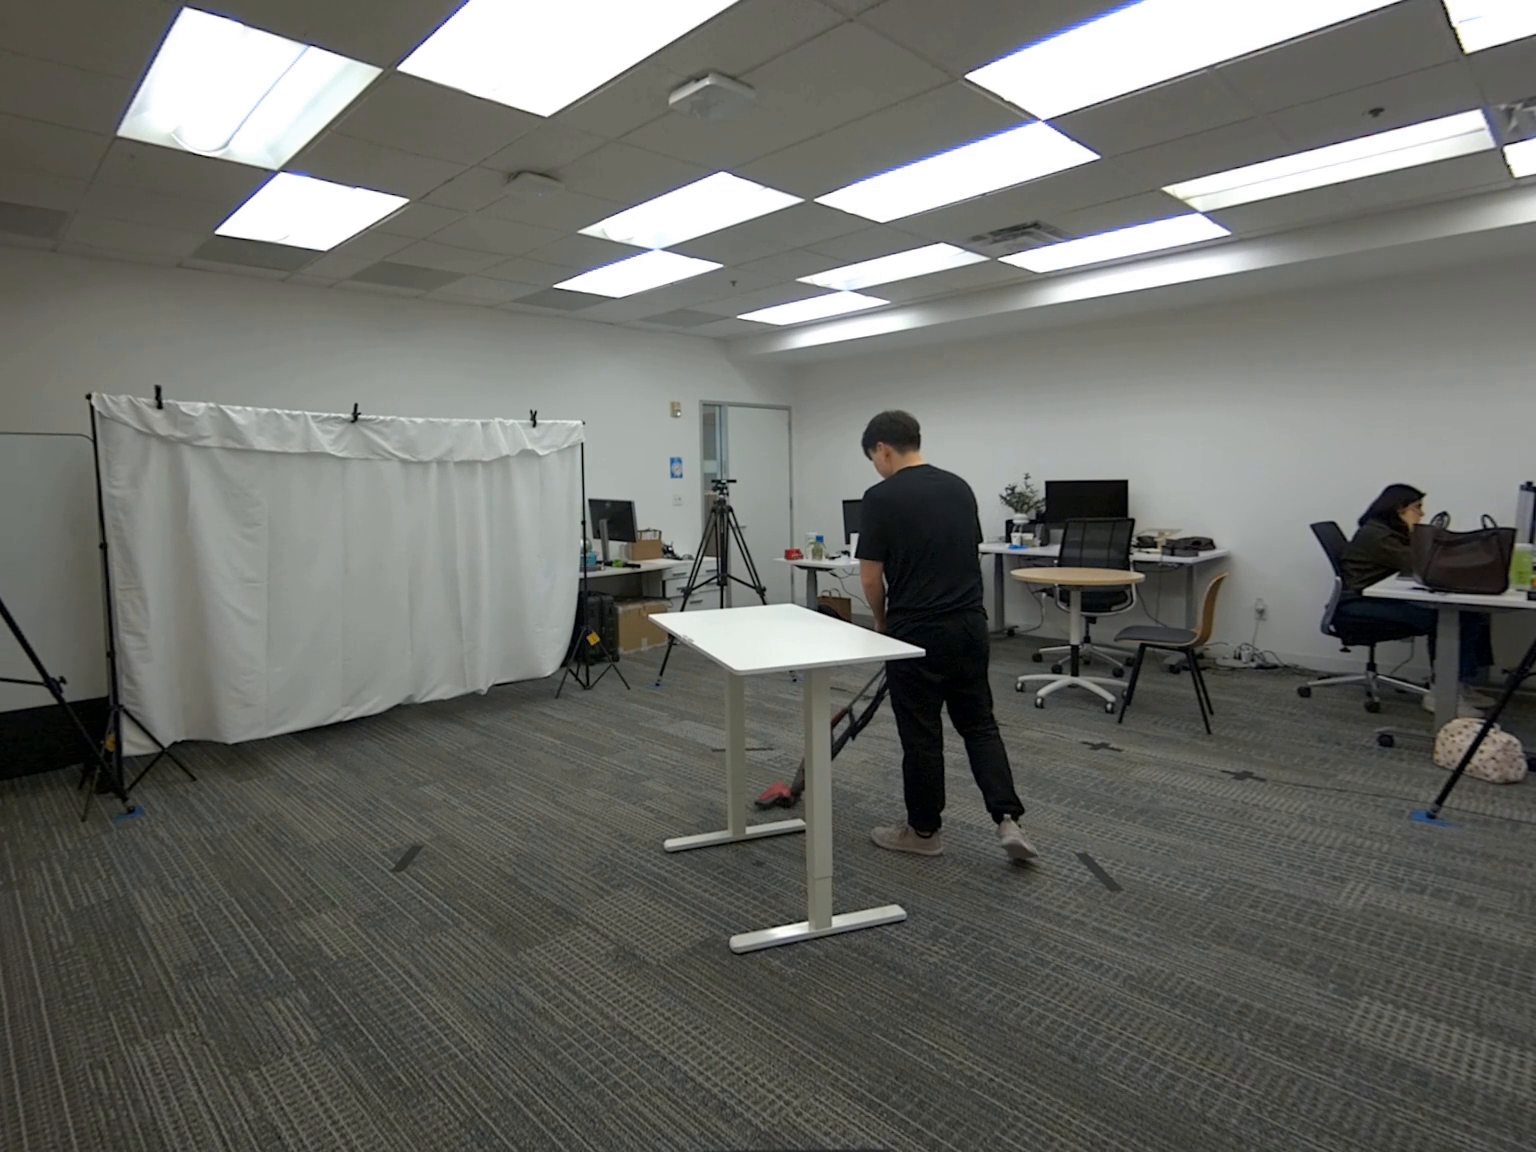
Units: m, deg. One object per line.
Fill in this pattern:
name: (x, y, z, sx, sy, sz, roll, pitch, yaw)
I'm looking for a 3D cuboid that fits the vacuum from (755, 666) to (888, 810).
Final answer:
vacuum: (0.356, 0.582, 3.524, 0.147, 1.047, 0.247, 45, 21, 17)
